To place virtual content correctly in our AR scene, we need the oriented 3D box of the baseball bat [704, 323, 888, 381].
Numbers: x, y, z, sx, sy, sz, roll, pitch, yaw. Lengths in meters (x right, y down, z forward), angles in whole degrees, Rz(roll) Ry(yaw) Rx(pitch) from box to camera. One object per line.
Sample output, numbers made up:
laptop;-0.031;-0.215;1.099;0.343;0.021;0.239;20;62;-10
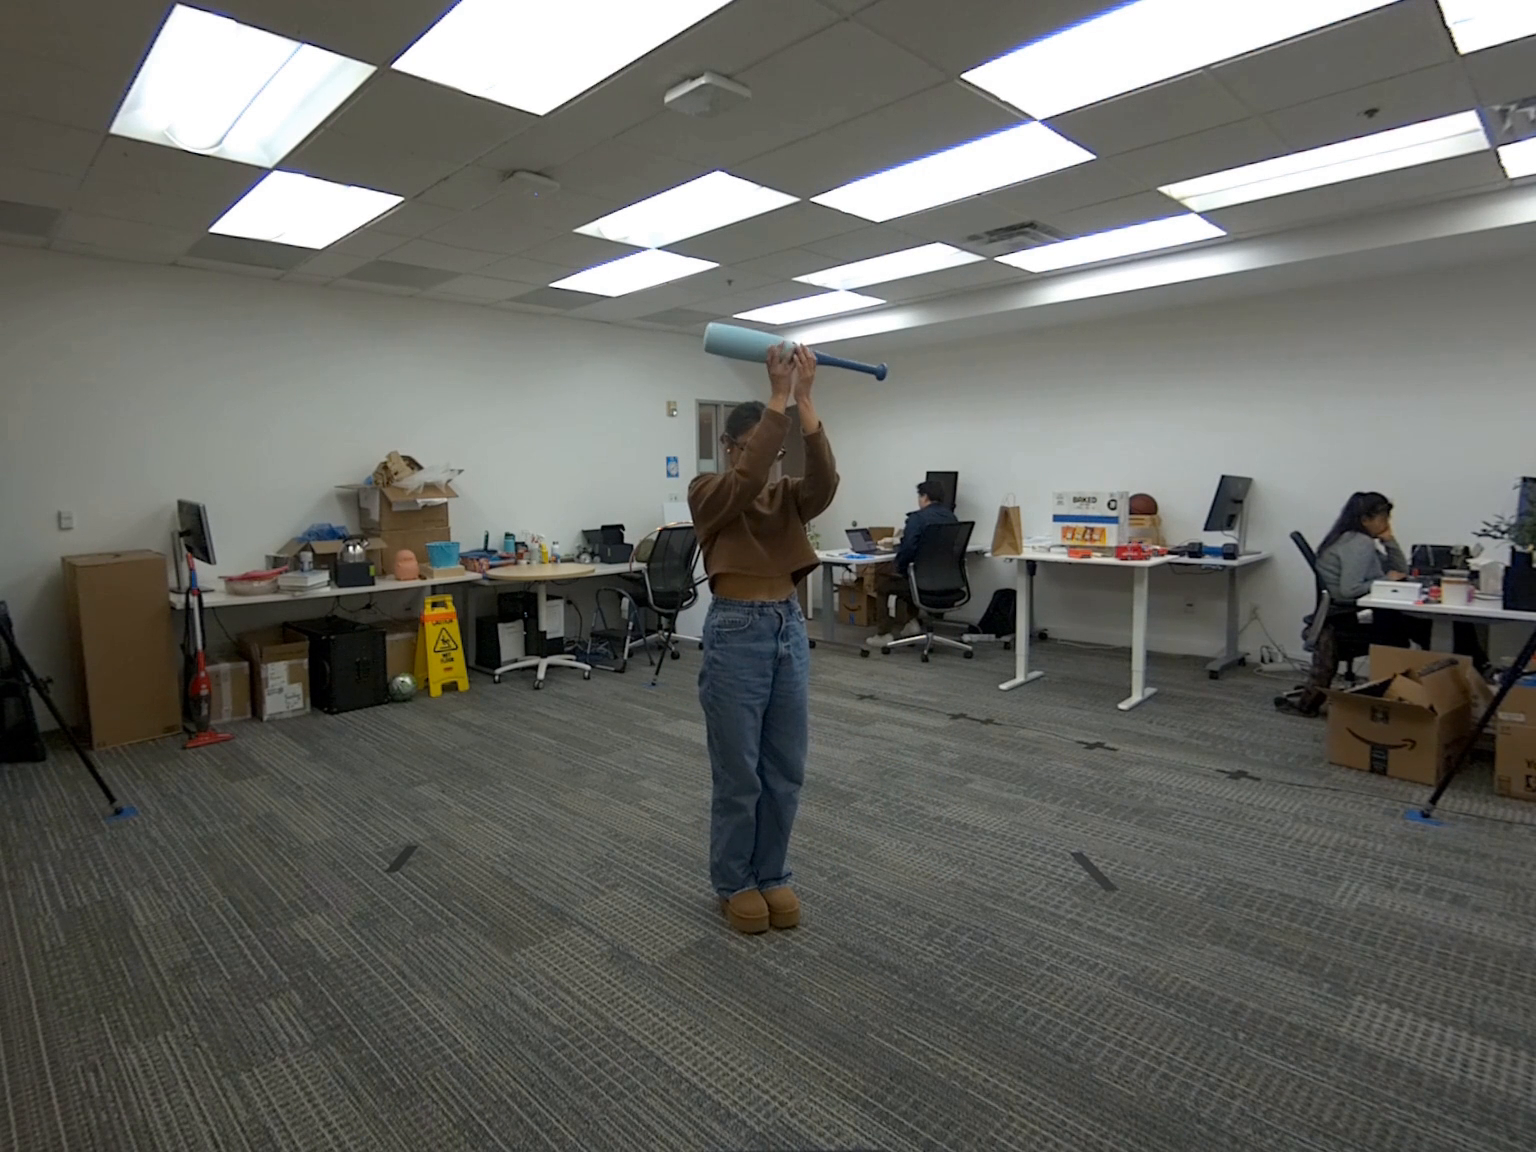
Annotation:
baseball bat;0.084;-0.640;2.461;0.537;0.089;0.090;8;3;-9
